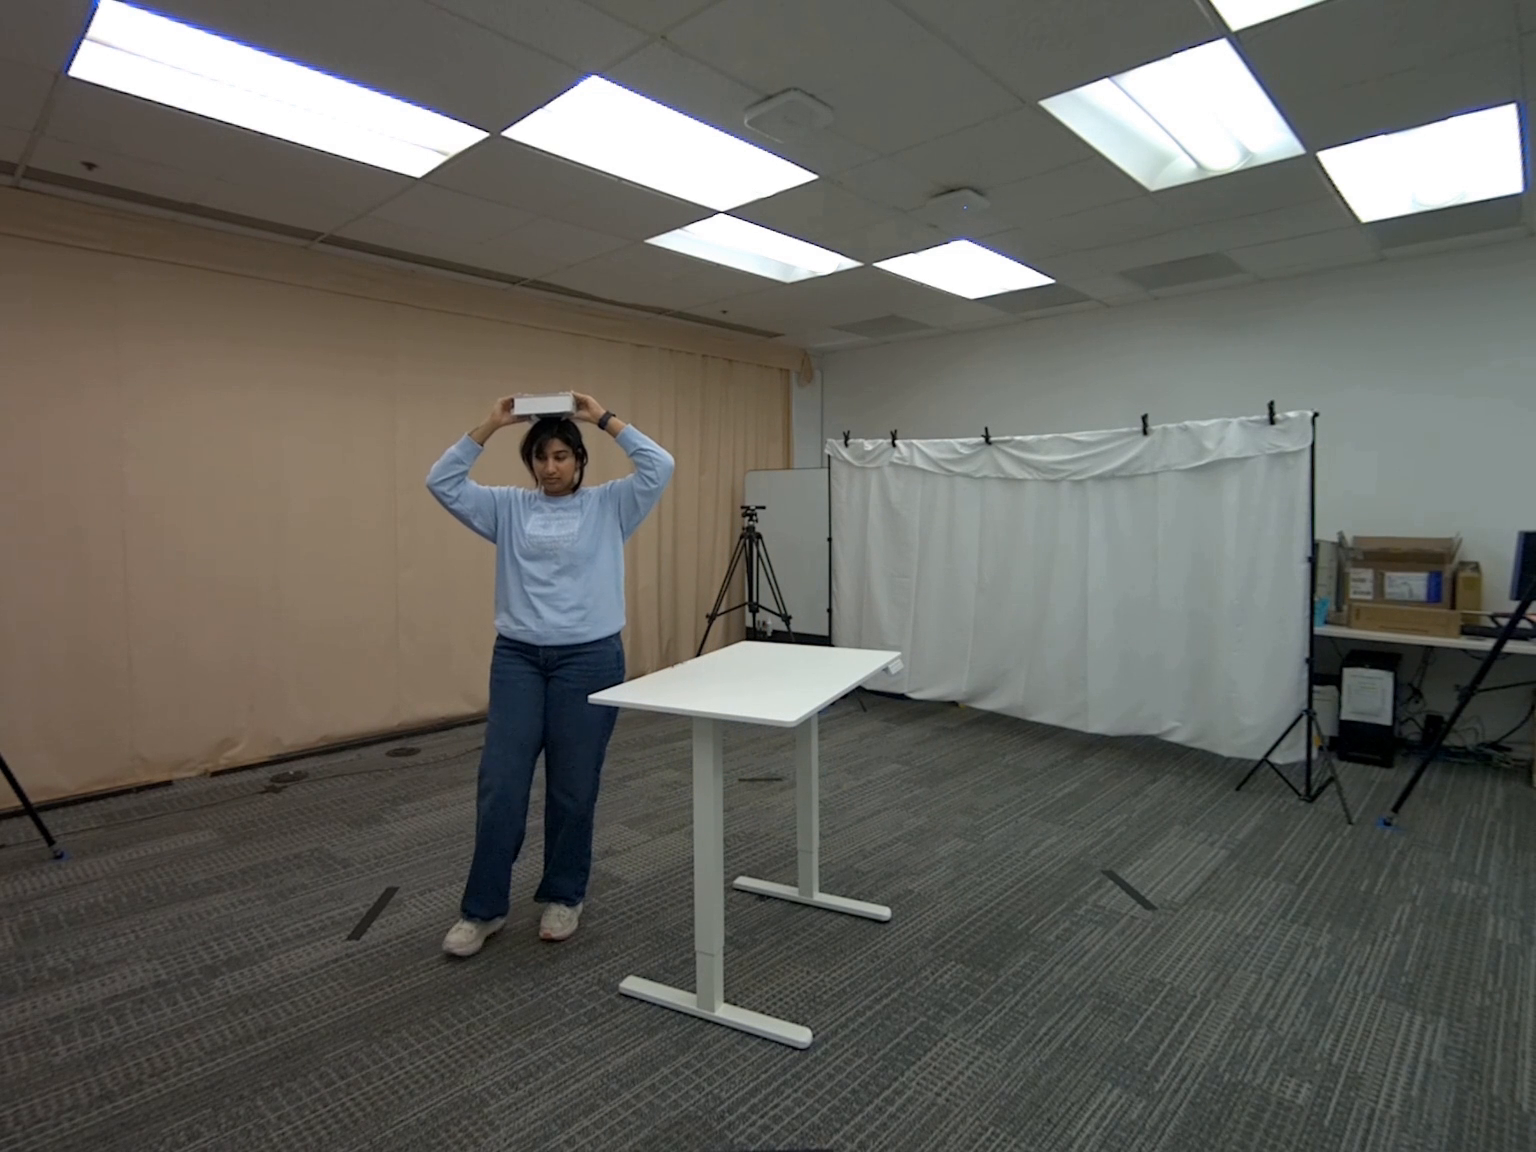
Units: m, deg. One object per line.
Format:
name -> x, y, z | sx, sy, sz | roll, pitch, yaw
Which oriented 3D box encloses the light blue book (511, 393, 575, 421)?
light blue book -> -0.730, -0.547, 2.729 | 0.193, 0.059, 0.260 | -4, 5, 5
